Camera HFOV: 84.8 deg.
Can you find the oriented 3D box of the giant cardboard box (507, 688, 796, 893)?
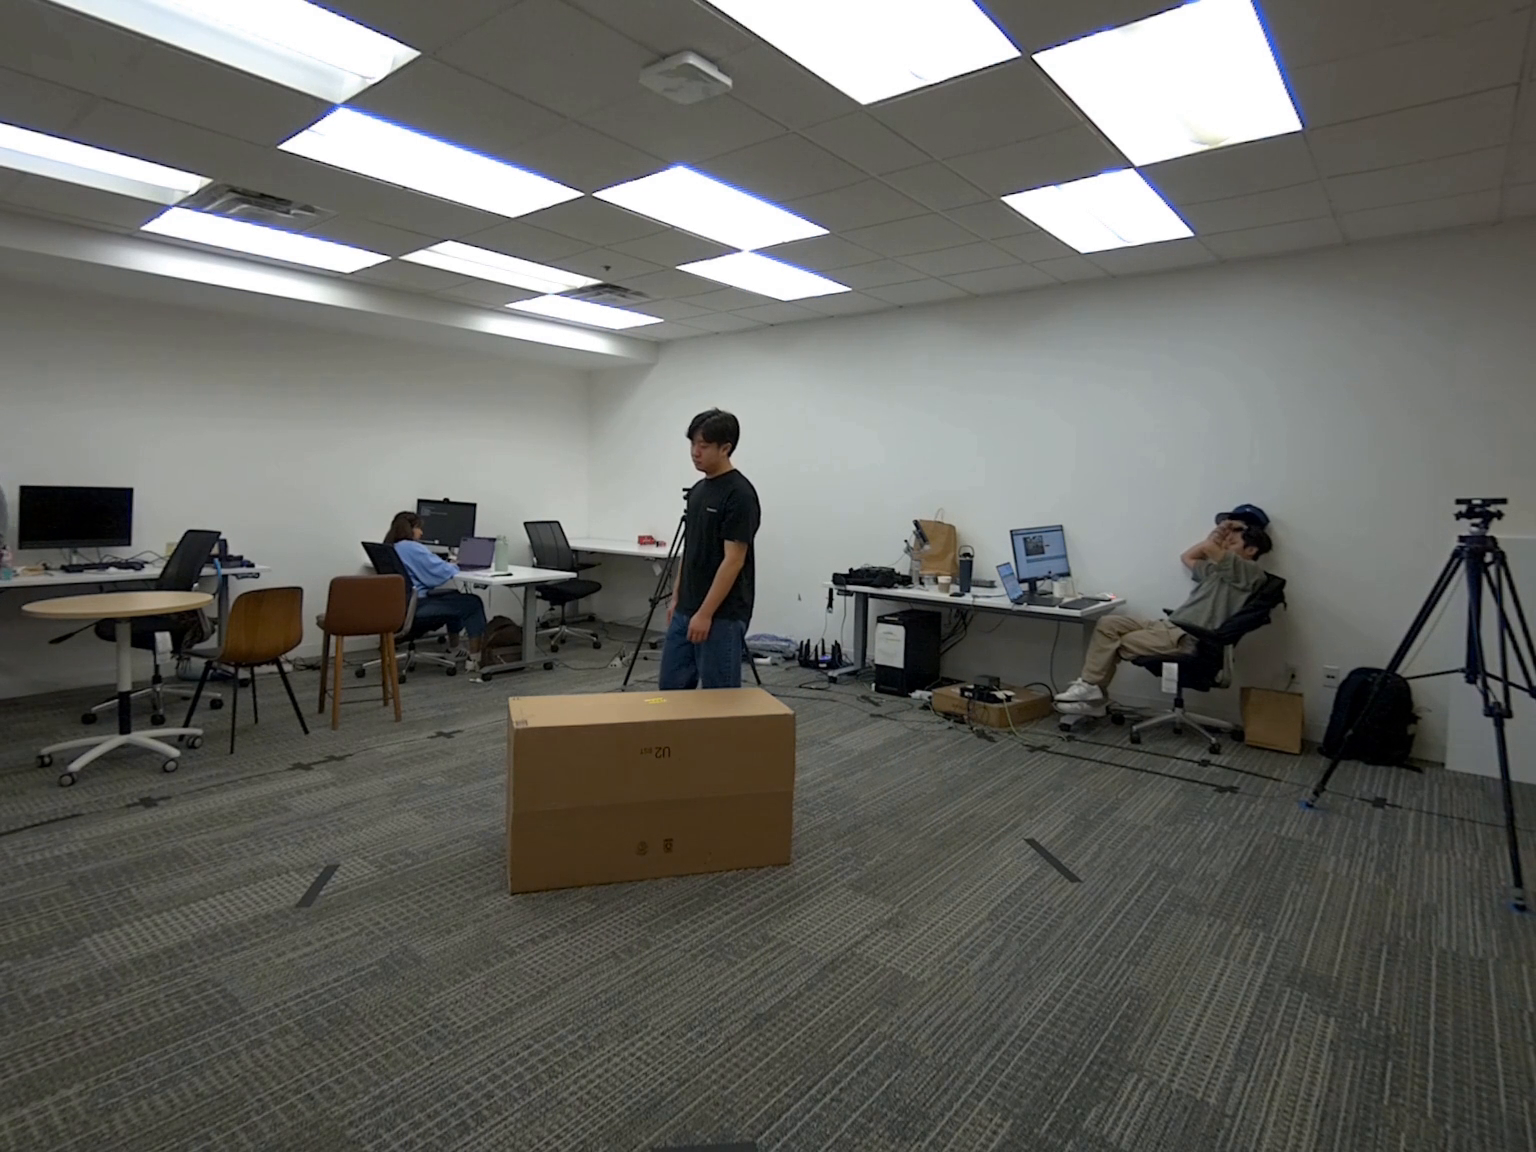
[{"bbox_3d":[-0.463,0.768,3.210,1.008,0.583,0.456,0,3,-18],"label":"giant cardboard box"}]
